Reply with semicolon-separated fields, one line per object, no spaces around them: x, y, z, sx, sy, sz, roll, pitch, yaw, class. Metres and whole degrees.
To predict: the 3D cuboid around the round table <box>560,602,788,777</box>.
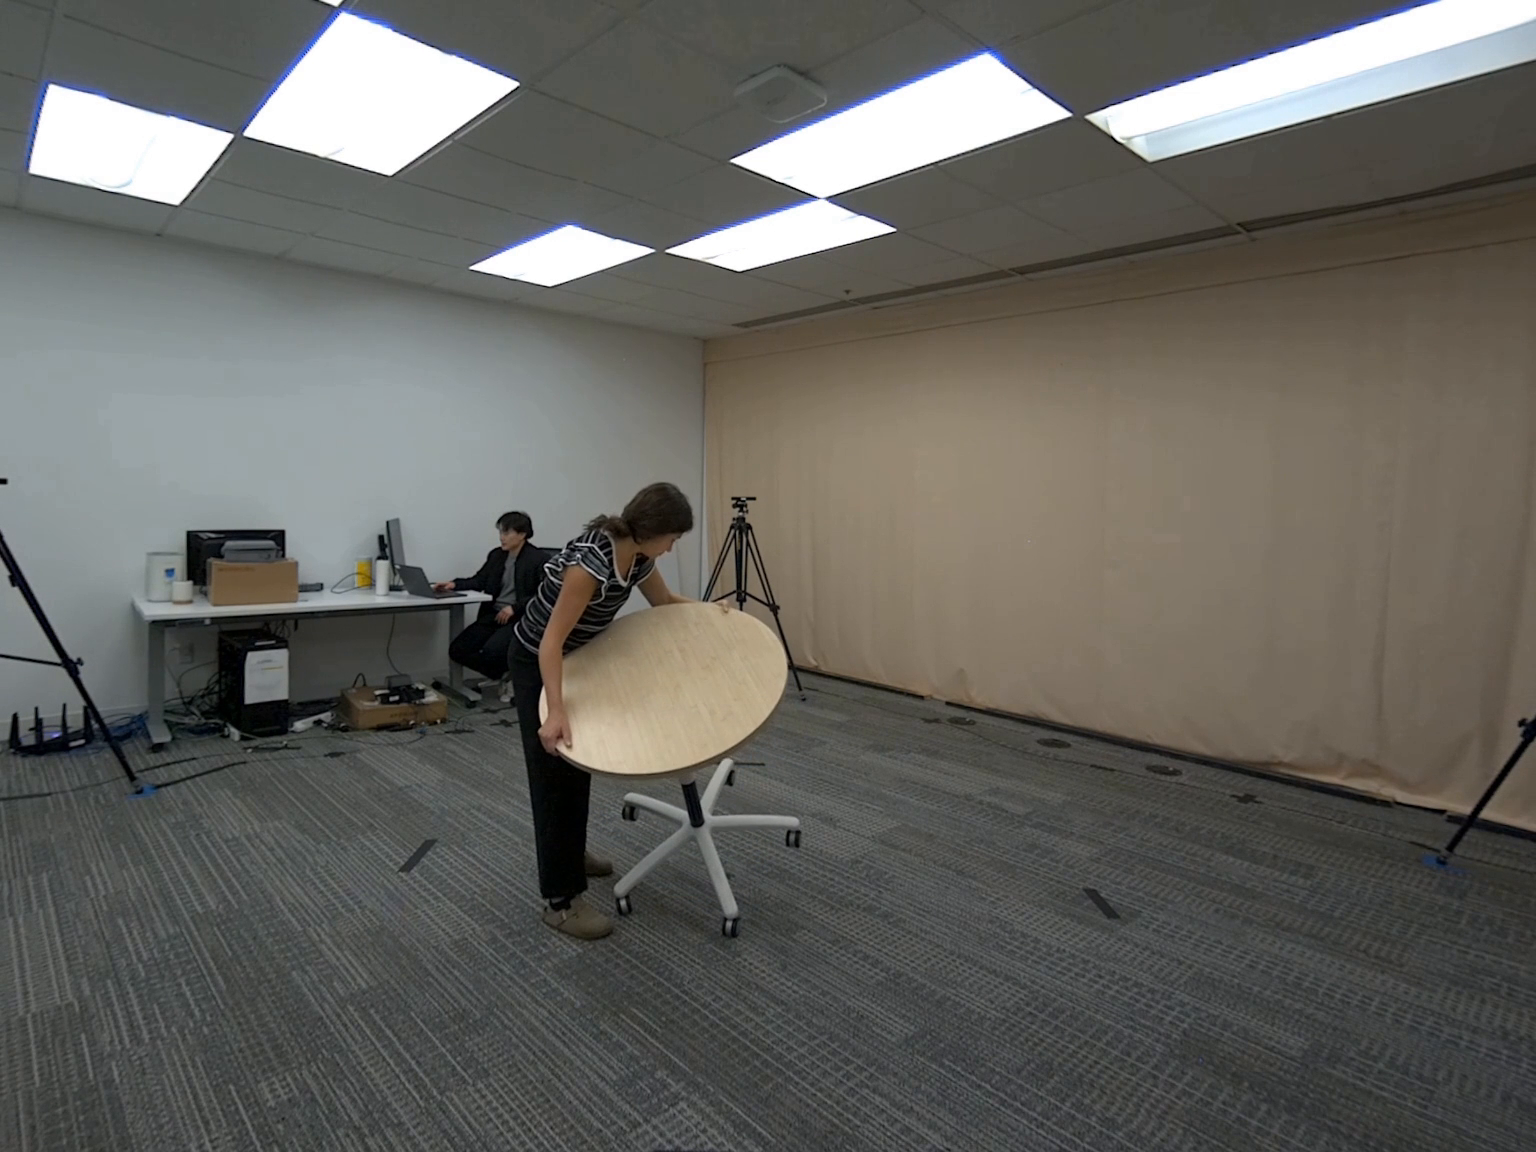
-0.283;0.635;2.794;0.787;0.769;0.801;-6;32;3;round table
